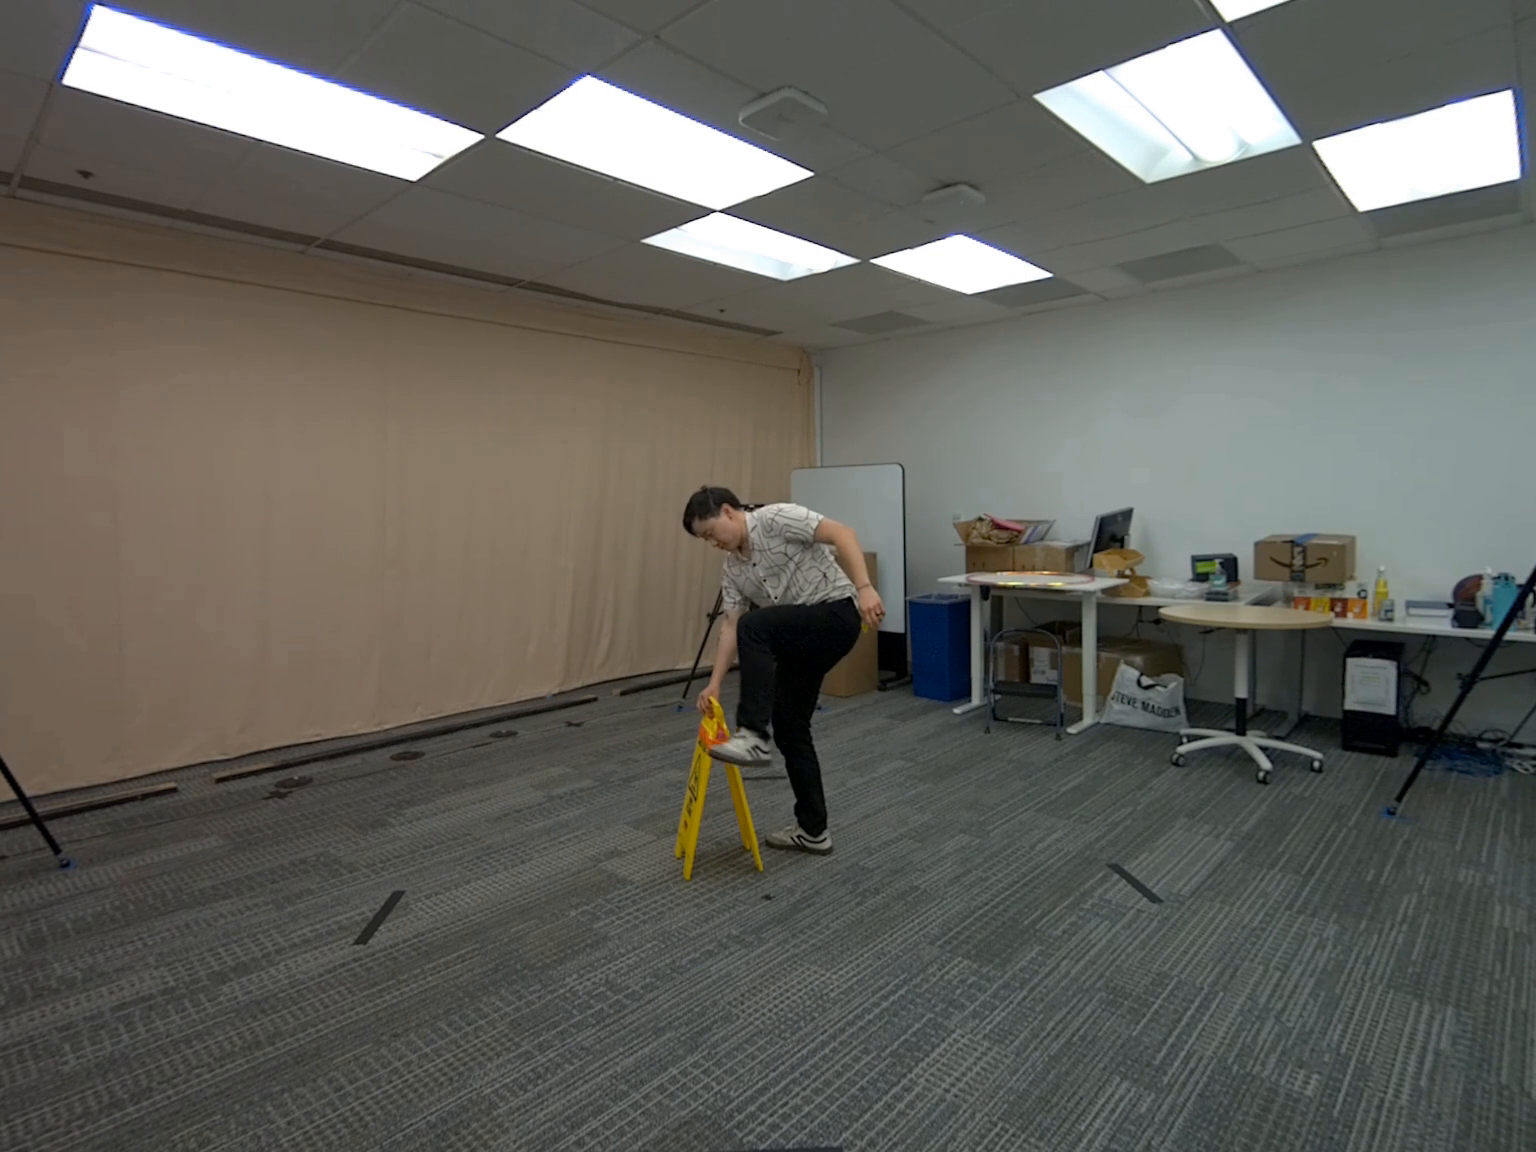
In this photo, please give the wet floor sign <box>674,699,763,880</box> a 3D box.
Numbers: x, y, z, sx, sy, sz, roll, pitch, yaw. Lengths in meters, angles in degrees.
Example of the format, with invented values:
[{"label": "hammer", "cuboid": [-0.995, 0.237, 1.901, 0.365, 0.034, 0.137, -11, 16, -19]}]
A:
[{"label": "wet floor sign", "cuboid": [-0.202, 0.792, 3.270, 0.286, 0.645, 0.287, -2, 3, -14]}]
